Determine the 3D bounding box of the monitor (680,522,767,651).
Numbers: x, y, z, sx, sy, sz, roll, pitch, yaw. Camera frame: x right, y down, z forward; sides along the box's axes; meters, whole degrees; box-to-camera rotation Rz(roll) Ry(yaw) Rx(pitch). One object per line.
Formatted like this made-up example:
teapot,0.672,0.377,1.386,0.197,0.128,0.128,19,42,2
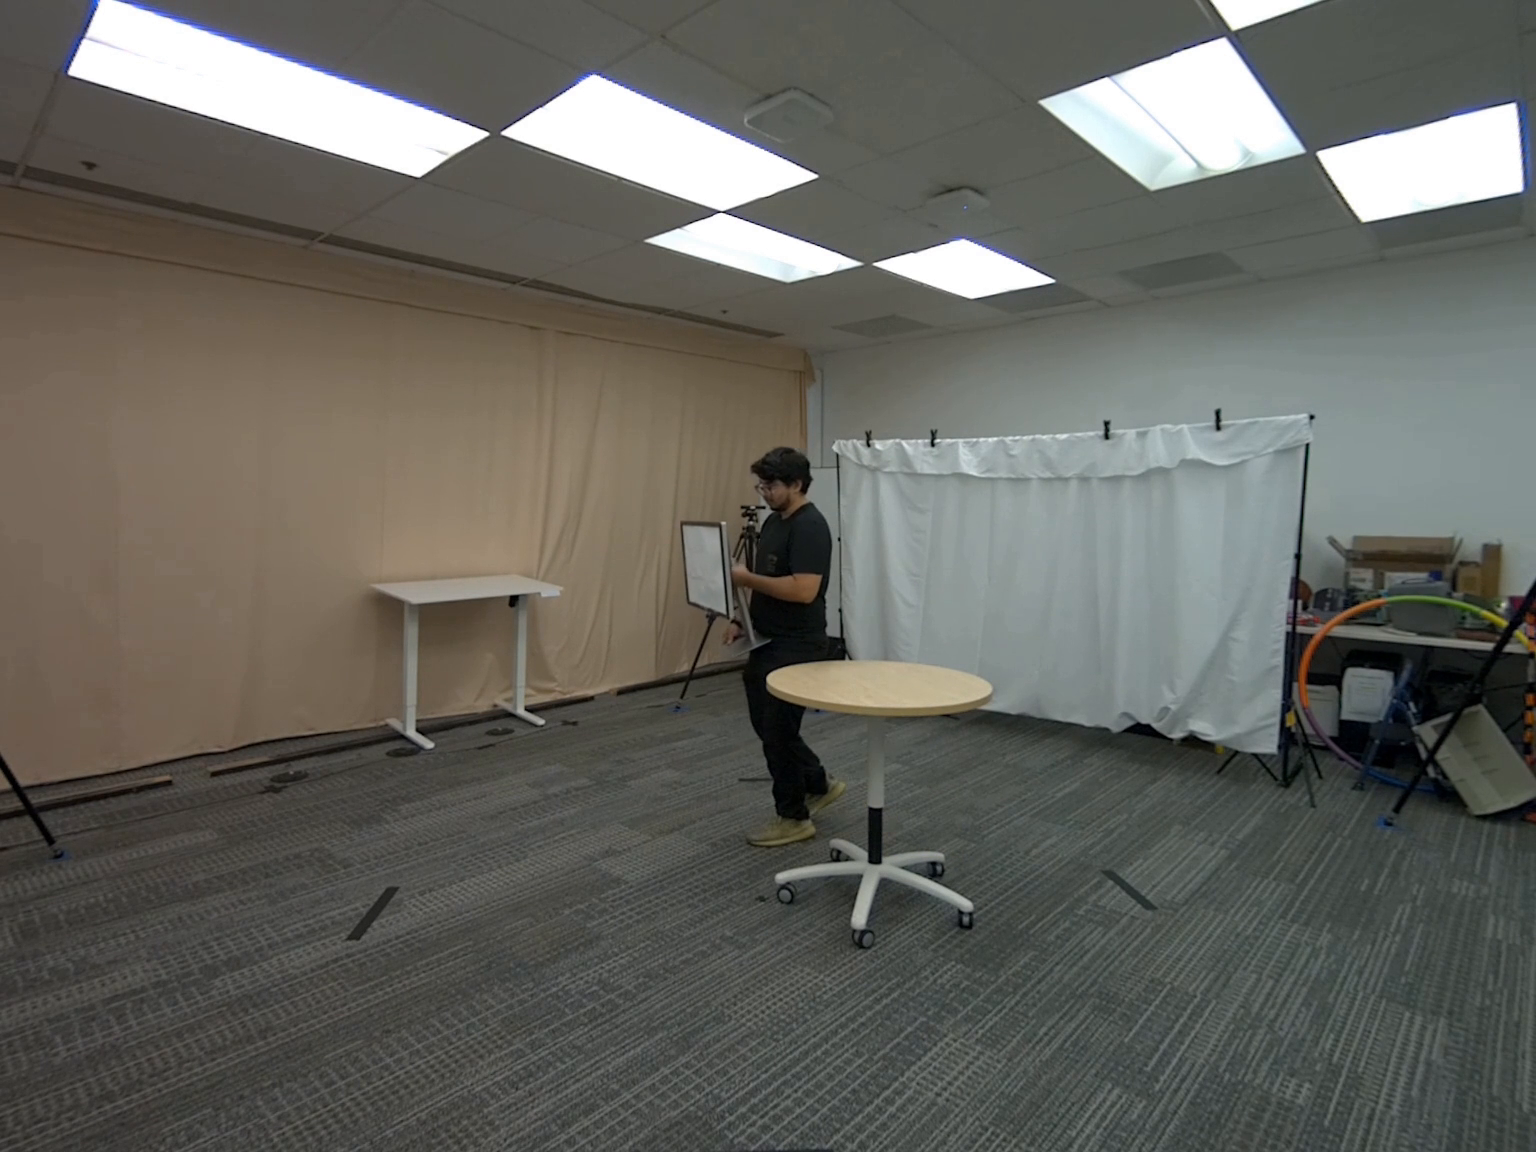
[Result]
monitor,-0.165,0.035,3.414,0.207,0.551,0.578,-13,8,-20
